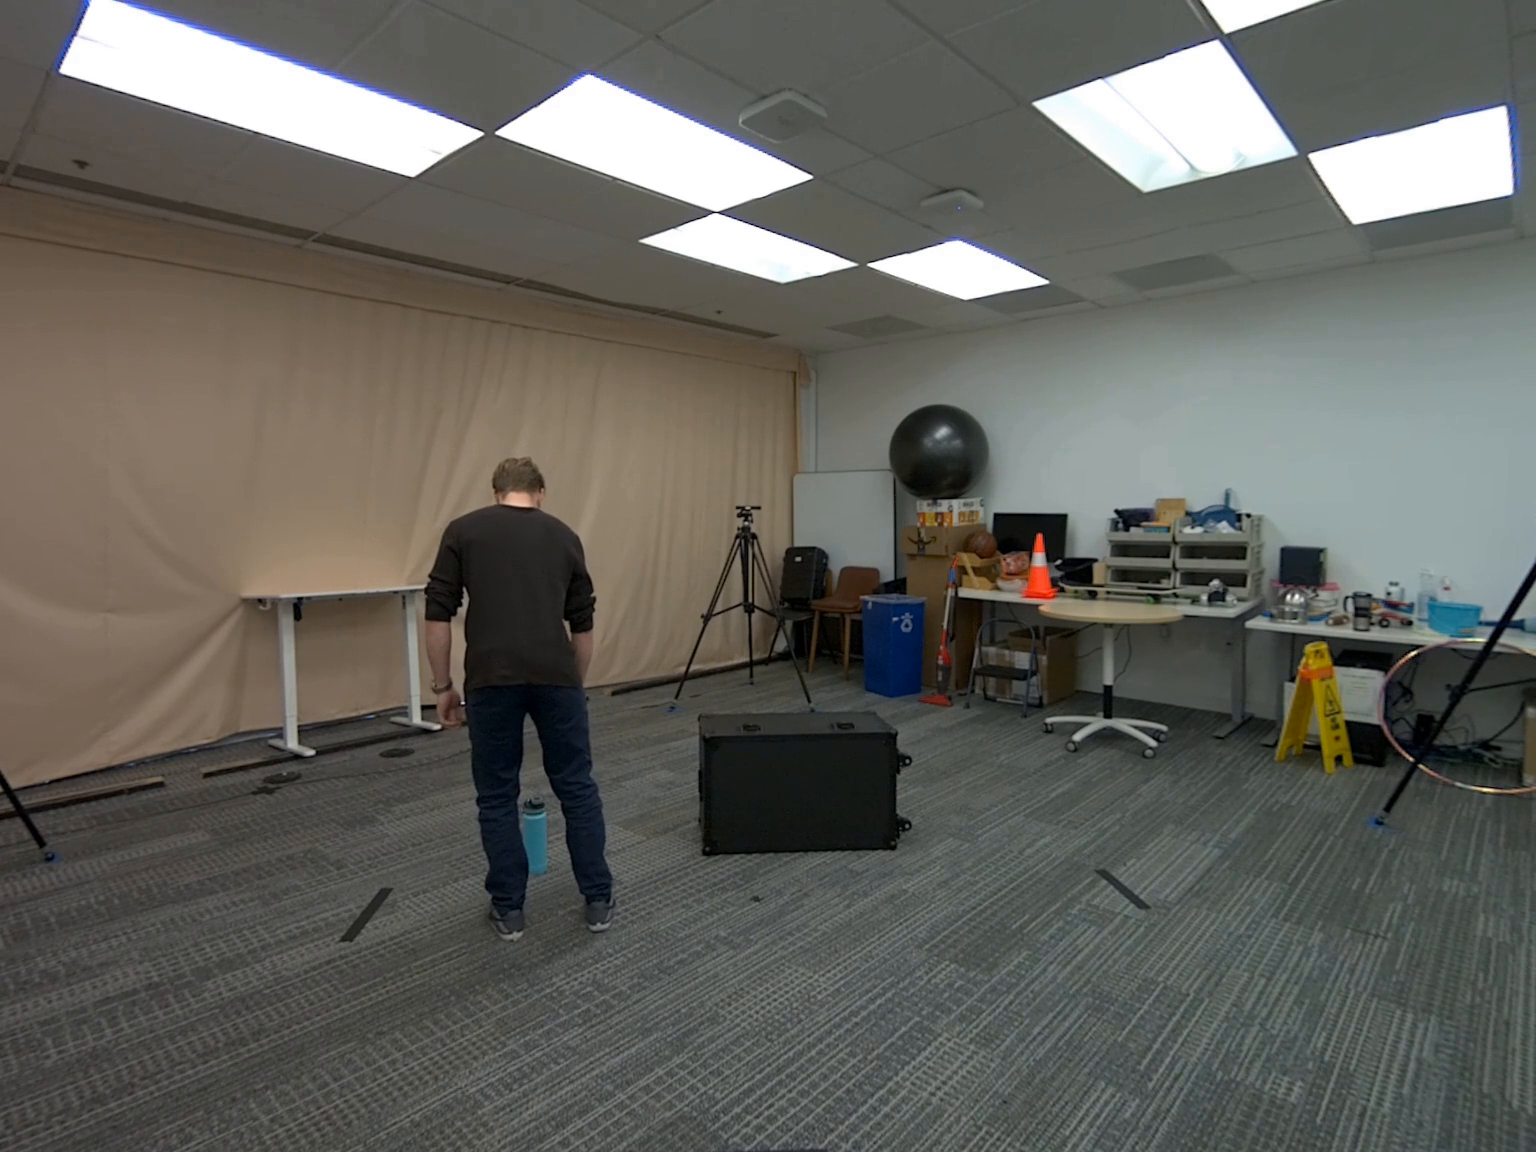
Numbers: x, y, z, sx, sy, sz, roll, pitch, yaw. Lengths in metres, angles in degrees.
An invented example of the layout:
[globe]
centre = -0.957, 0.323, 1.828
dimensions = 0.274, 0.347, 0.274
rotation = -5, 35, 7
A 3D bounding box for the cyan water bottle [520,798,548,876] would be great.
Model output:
[cyan water bottle]
centre = -0.900, 0.994, 3.236
dimensions = 0.092, 0.283, 0.092
rotation = -2, 0, -2
